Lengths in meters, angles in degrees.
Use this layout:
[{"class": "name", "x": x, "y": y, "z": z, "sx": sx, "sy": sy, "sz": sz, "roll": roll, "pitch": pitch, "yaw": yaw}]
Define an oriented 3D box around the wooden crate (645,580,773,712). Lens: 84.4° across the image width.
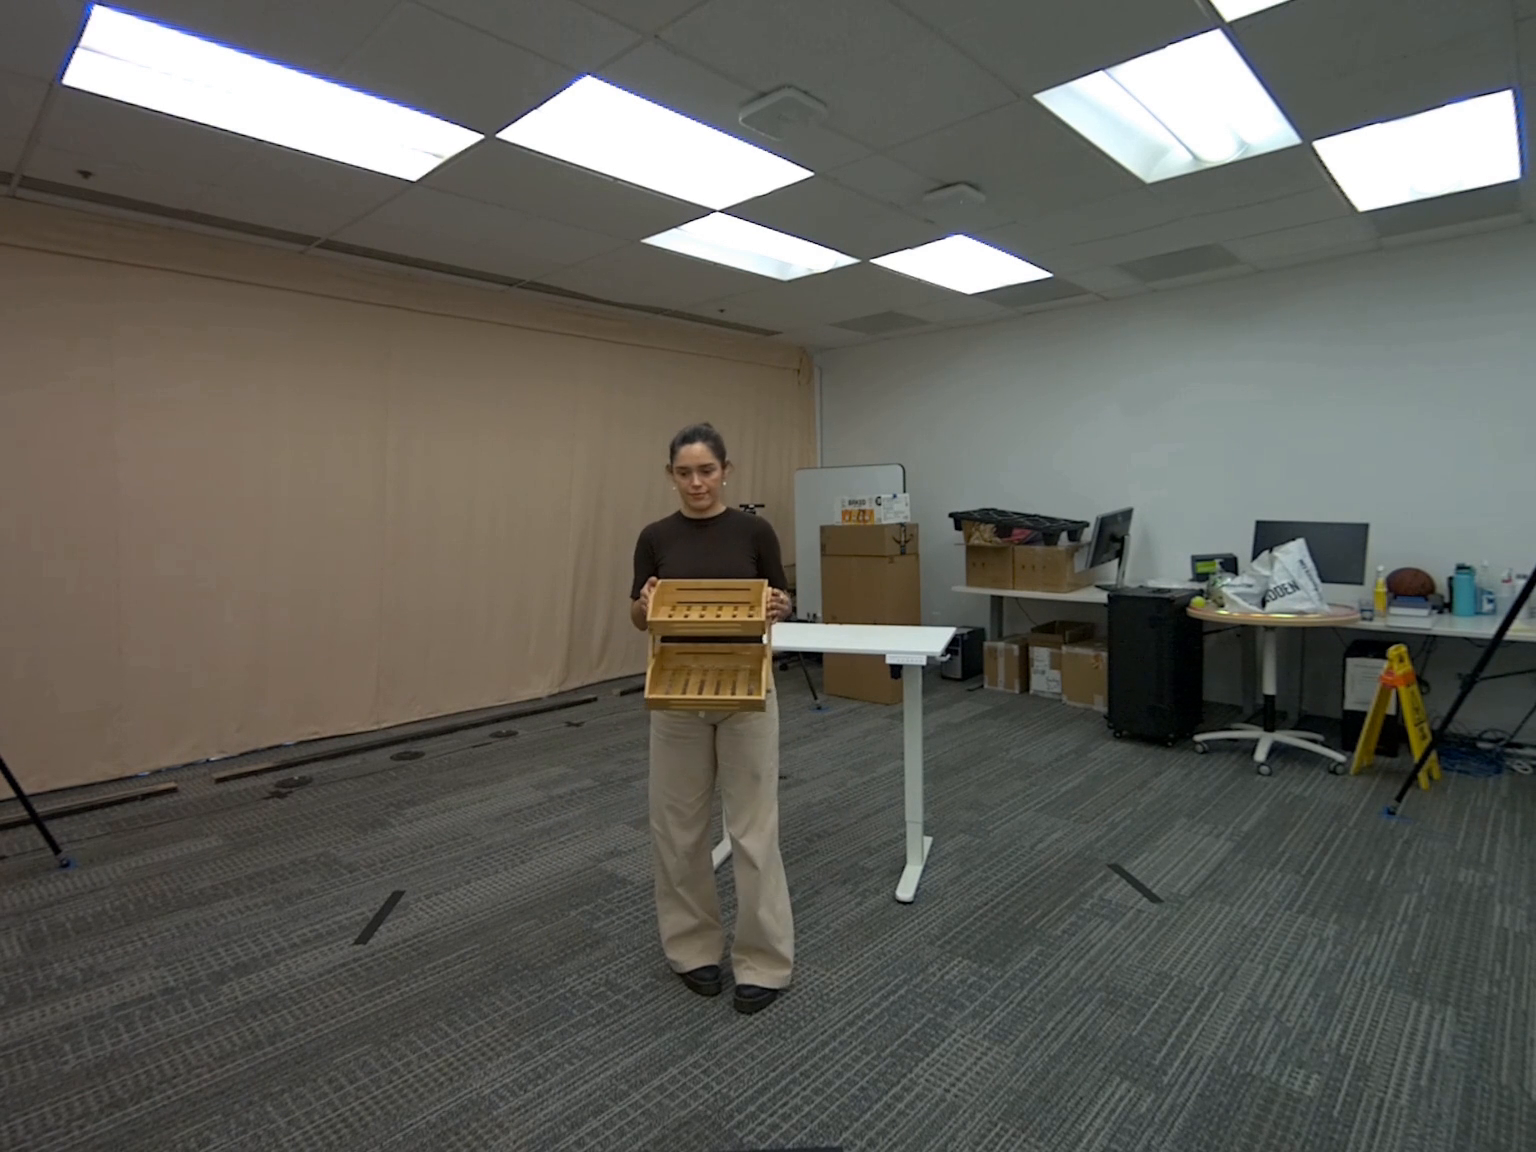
[{"class": "wooden crate", "x": -0.151, "y": 0.175, "z": 2.195, "sx": 0.326, "sy": 0.271, "sz": 0.303, "roll": 2, "pitch": 16, "yaw": 3}]
